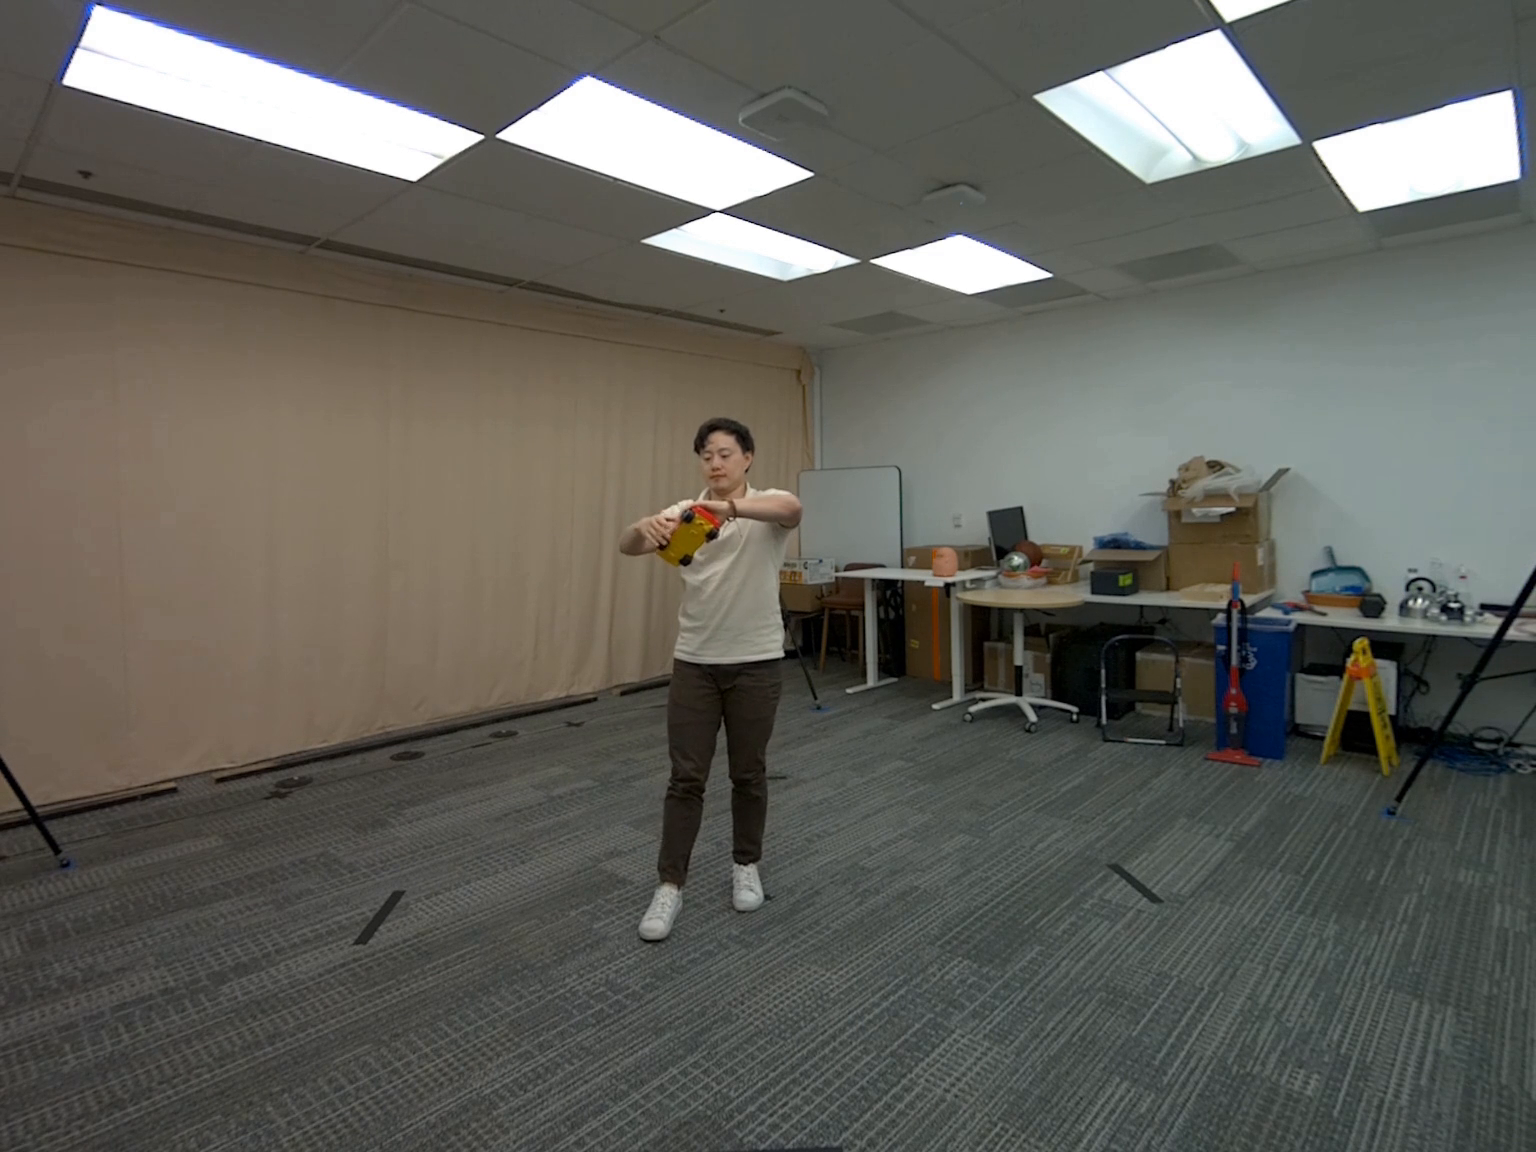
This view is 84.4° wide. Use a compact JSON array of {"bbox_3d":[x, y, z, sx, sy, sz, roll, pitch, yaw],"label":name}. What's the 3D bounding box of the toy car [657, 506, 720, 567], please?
[{"bbox_3d":[-0.256,-0.108,2.531,0.128,0.083,0.258,36,-39,-16],"label":"toy car"}]
